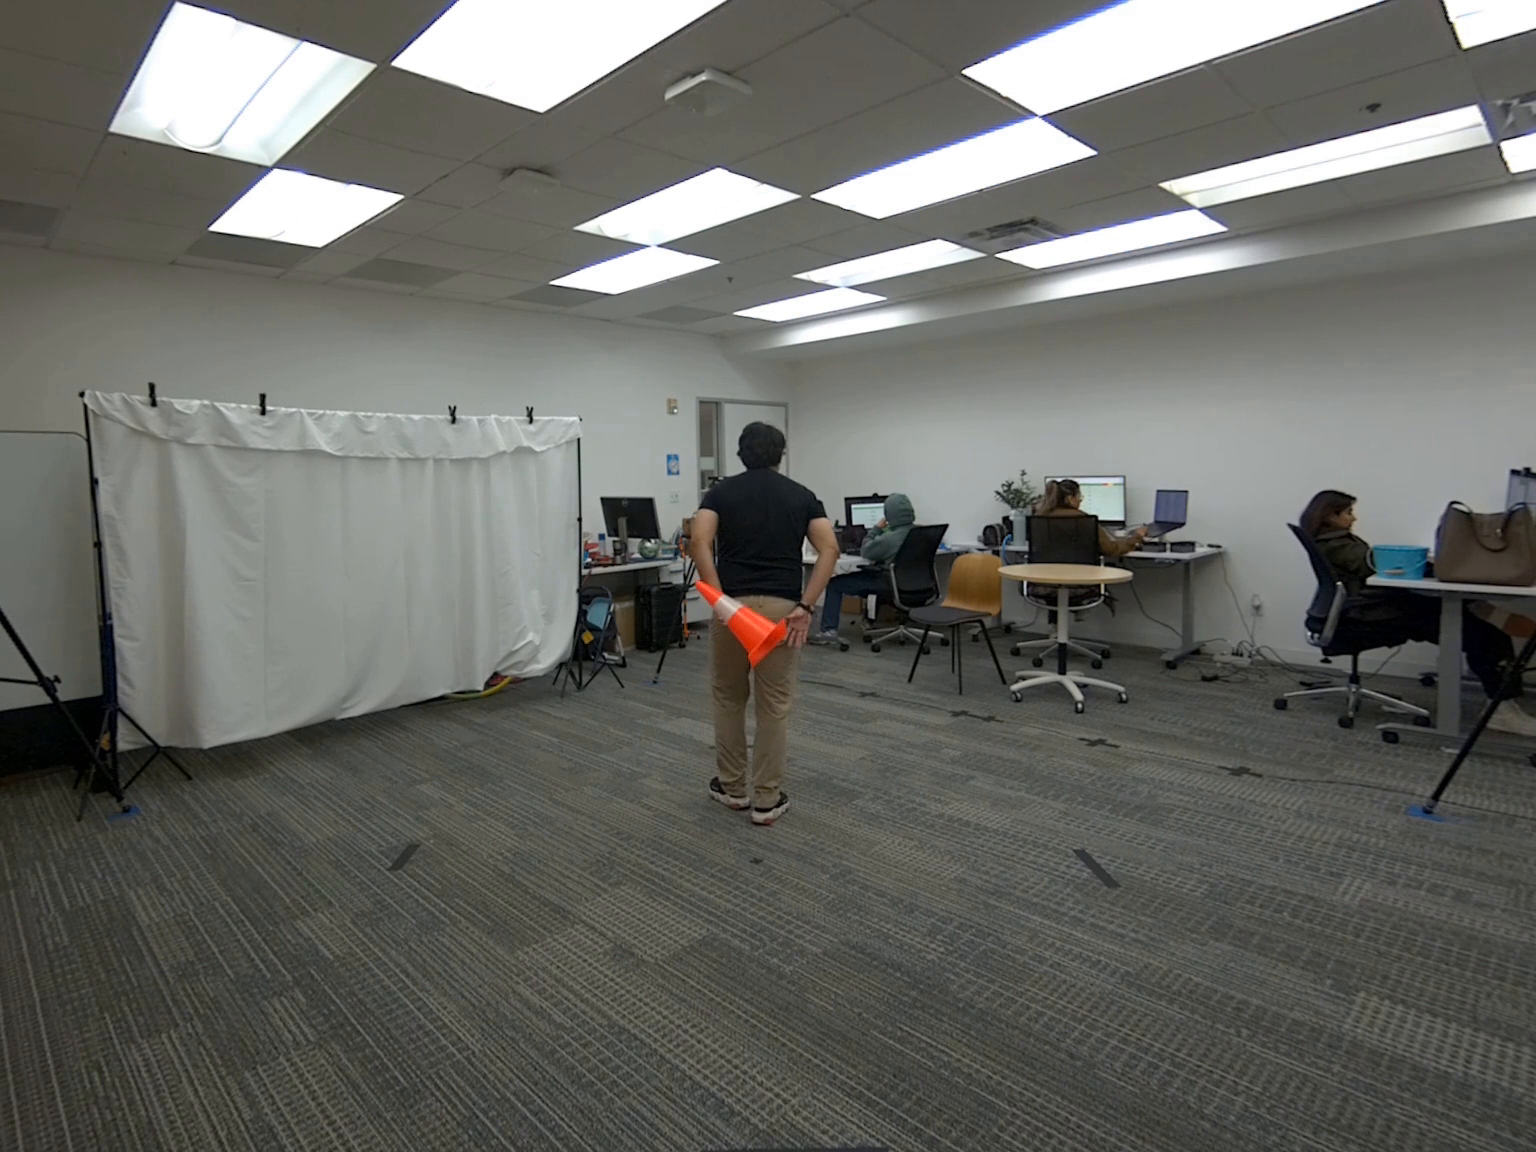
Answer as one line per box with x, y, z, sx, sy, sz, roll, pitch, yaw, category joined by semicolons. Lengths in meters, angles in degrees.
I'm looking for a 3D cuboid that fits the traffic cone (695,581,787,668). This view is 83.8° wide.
-0.145;0.152;3.330;0.394;0.205;0.198;39;-12;21;traffic cone
